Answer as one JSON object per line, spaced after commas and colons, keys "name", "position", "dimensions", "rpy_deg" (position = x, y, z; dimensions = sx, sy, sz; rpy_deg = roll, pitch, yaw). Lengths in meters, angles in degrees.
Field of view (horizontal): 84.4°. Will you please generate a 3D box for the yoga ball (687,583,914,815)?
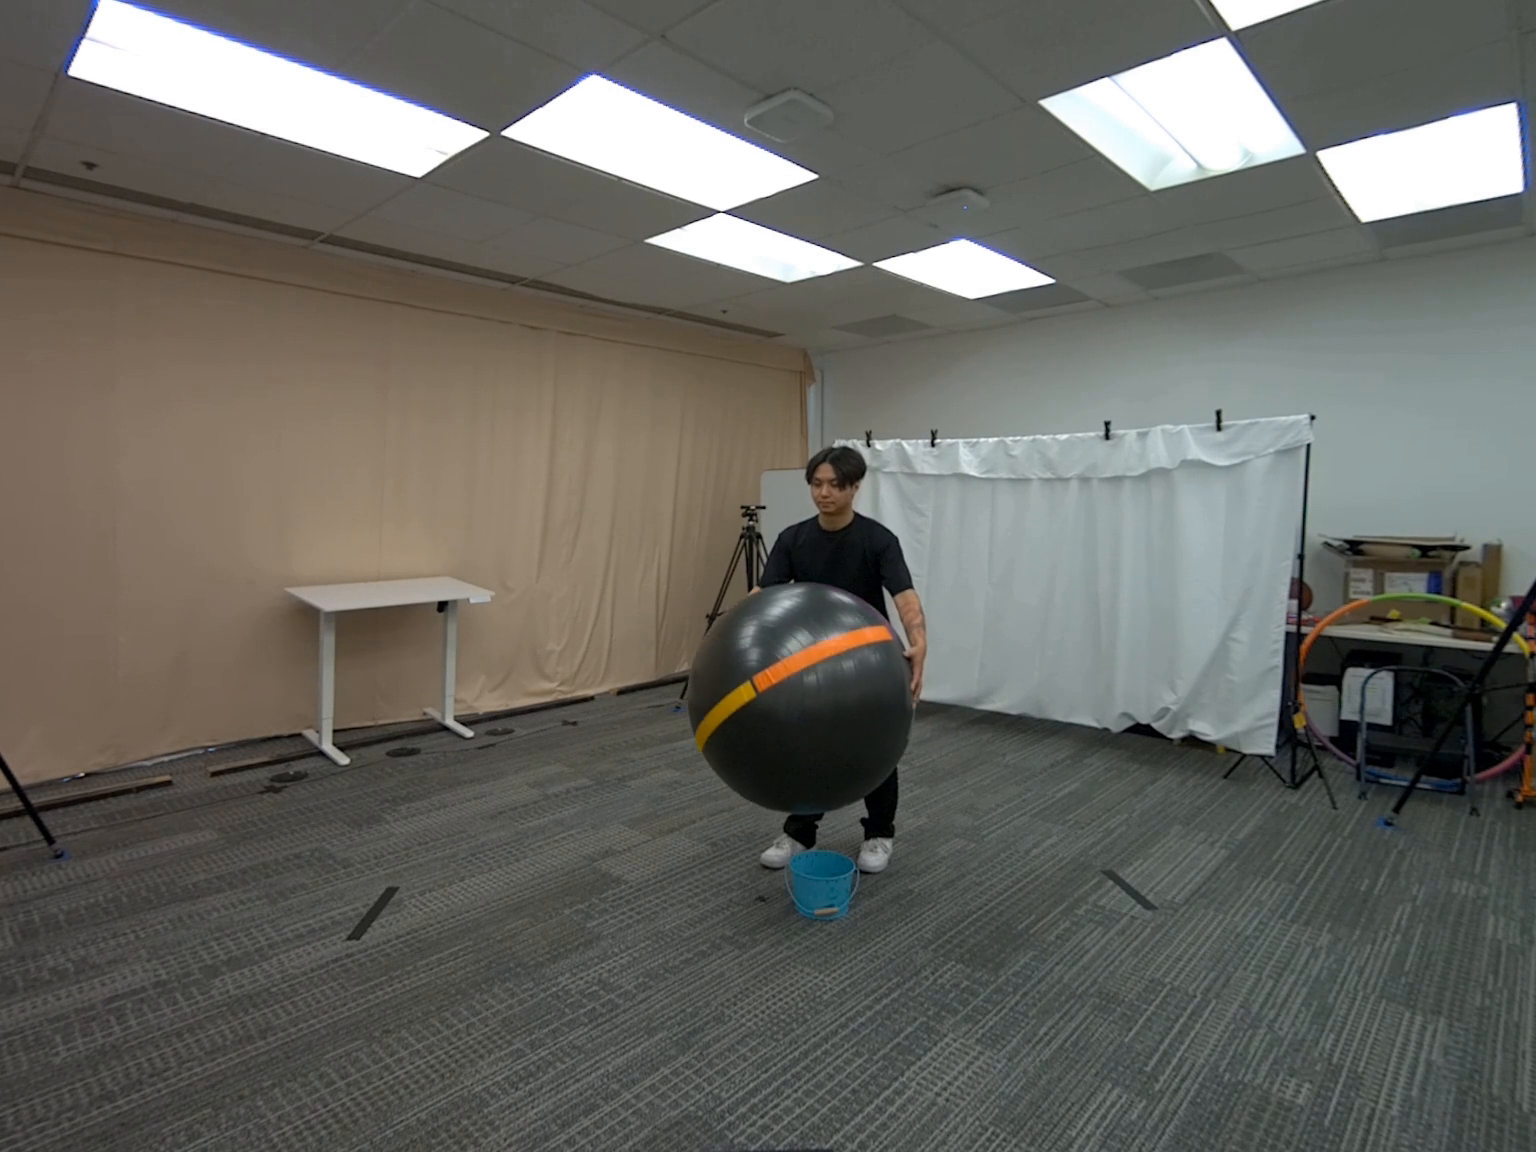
{"name": "yoga ball", "position": [0.104, 0.402, 2.825], "dimensions": [0.757, 0.756, 0.761], "rpy_deg": [0, 4, -2]}
